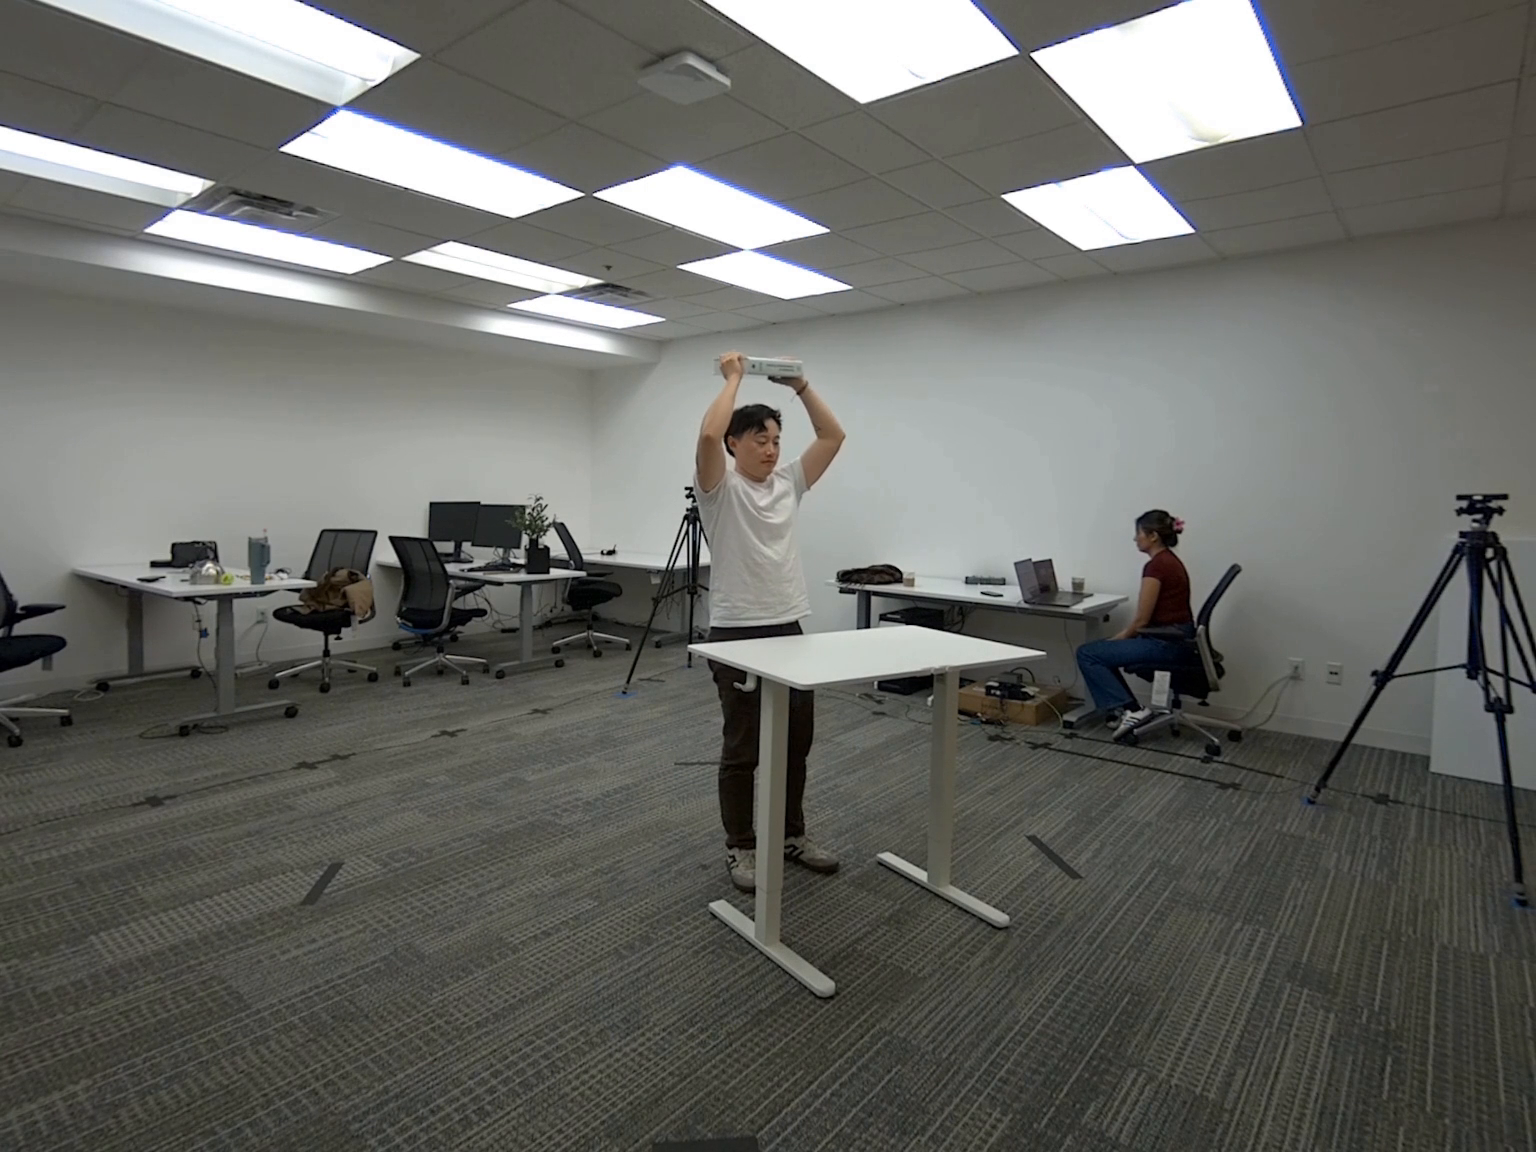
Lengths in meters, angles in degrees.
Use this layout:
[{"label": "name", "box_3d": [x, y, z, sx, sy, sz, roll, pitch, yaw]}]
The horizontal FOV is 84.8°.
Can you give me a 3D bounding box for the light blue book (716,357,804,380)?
[{"label": "light blue book", "box_3d": [-0.042, -0.736, 3.023, 0.254, 0.058, 0.198, -8, 13, -40]}]
